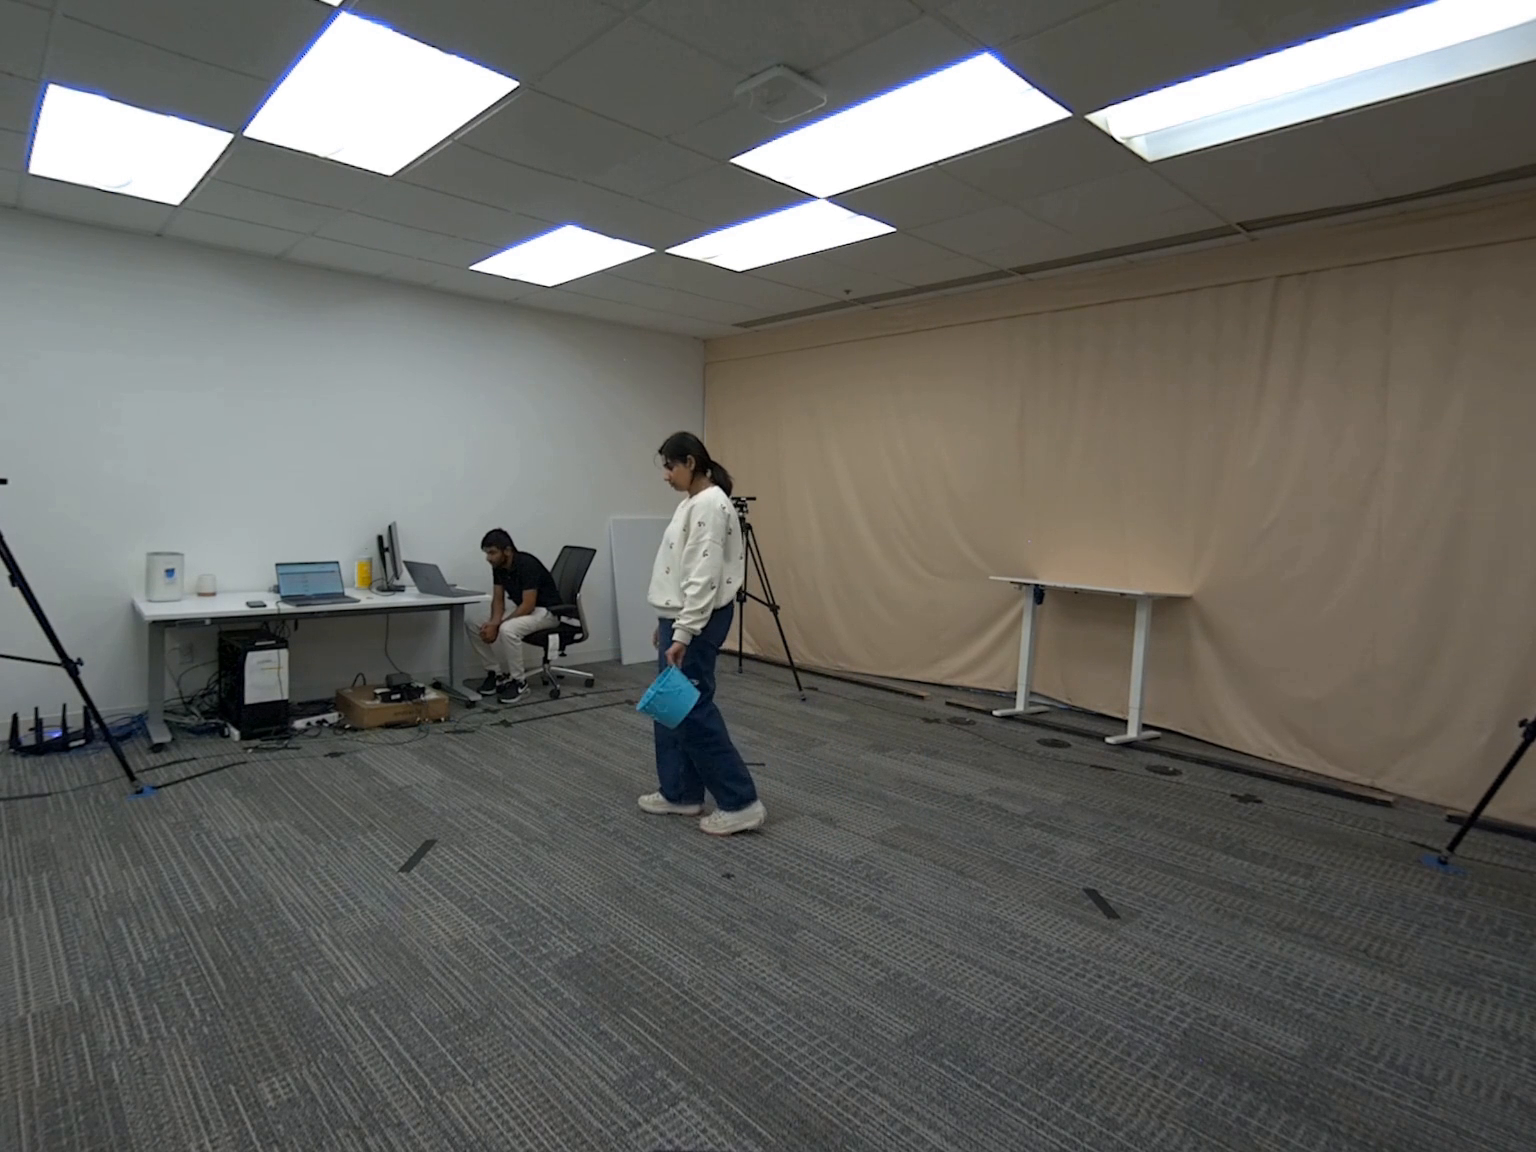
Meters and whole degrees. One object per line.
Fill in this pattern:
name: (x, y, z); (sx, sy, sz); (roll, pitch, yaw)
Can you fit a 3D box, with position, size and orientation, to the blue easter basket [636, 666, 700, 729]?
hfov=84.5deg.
blue easter basket: (-0.386, 0.464, 3.287); (0.155, 0.243, 0.245); (39, 1, -7)
